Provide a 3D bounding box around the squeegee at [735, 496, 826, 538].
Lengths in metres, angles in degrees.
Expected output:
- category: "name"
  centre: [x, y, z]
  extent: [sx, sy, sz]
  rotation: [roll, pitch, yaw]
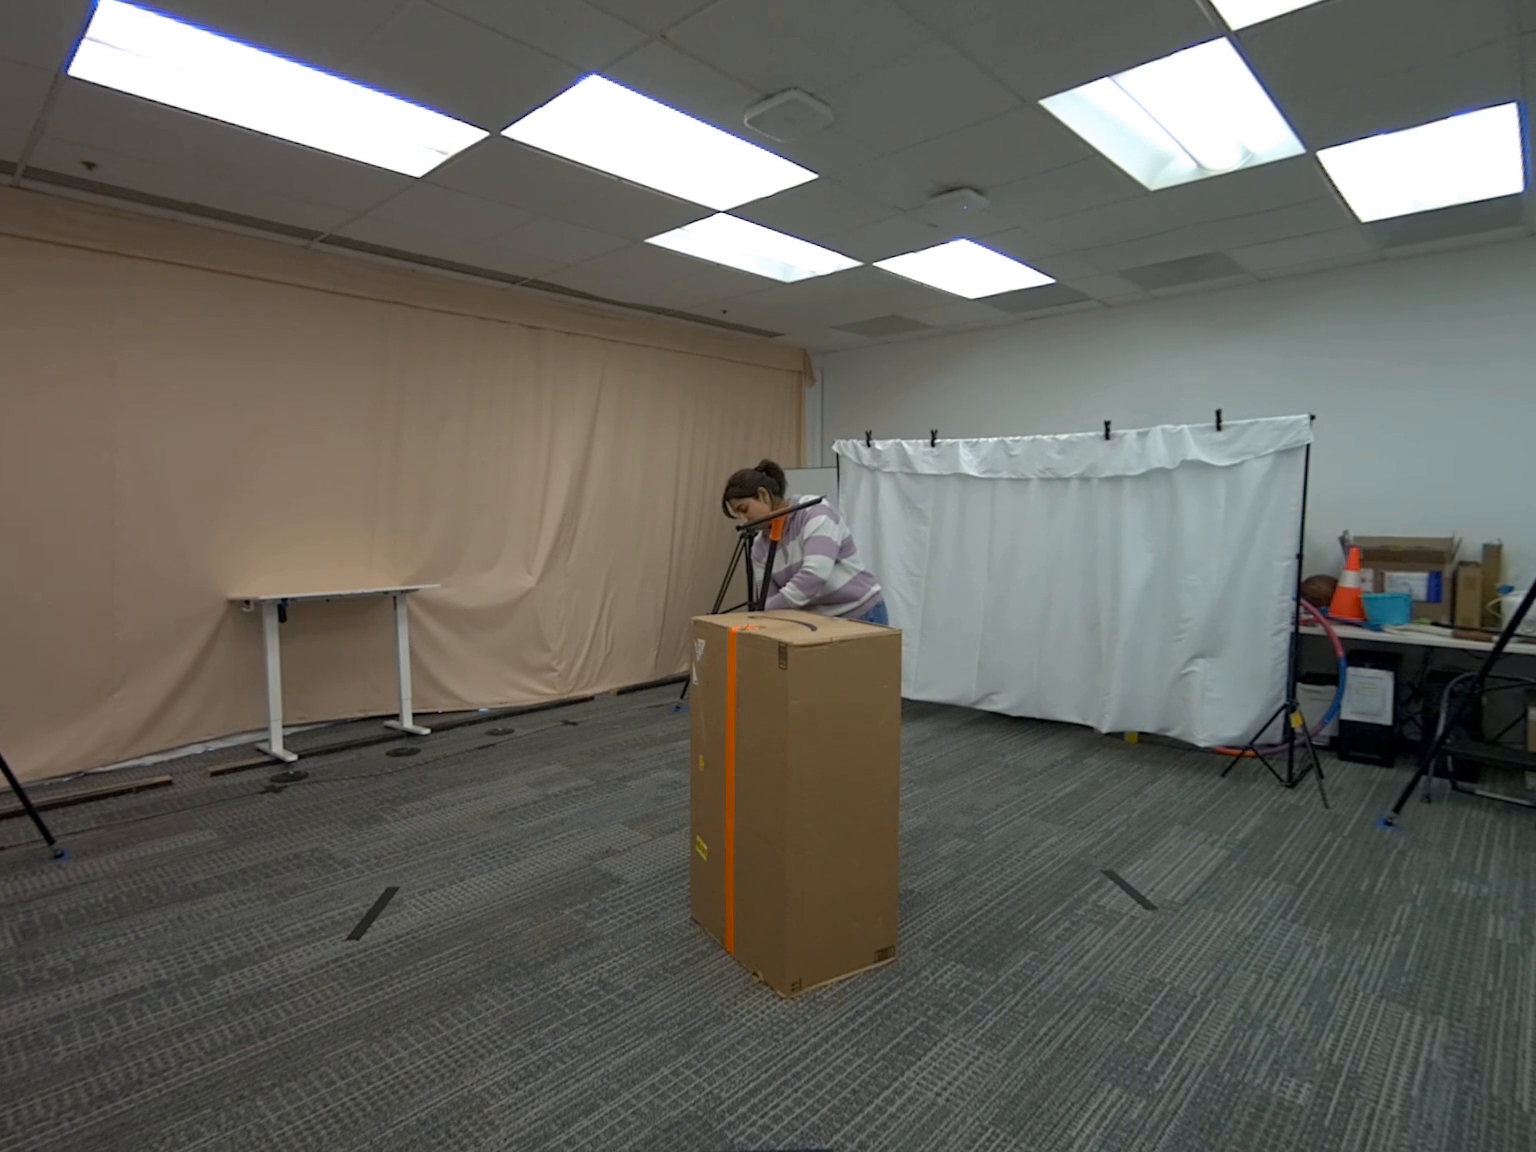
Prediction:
- category: "squeegee"
  centre: [-0.115, 0.428, 3.122]
  extent: [0.055, 1.523, 0.427]
  rotation: [31, 32, 30]
